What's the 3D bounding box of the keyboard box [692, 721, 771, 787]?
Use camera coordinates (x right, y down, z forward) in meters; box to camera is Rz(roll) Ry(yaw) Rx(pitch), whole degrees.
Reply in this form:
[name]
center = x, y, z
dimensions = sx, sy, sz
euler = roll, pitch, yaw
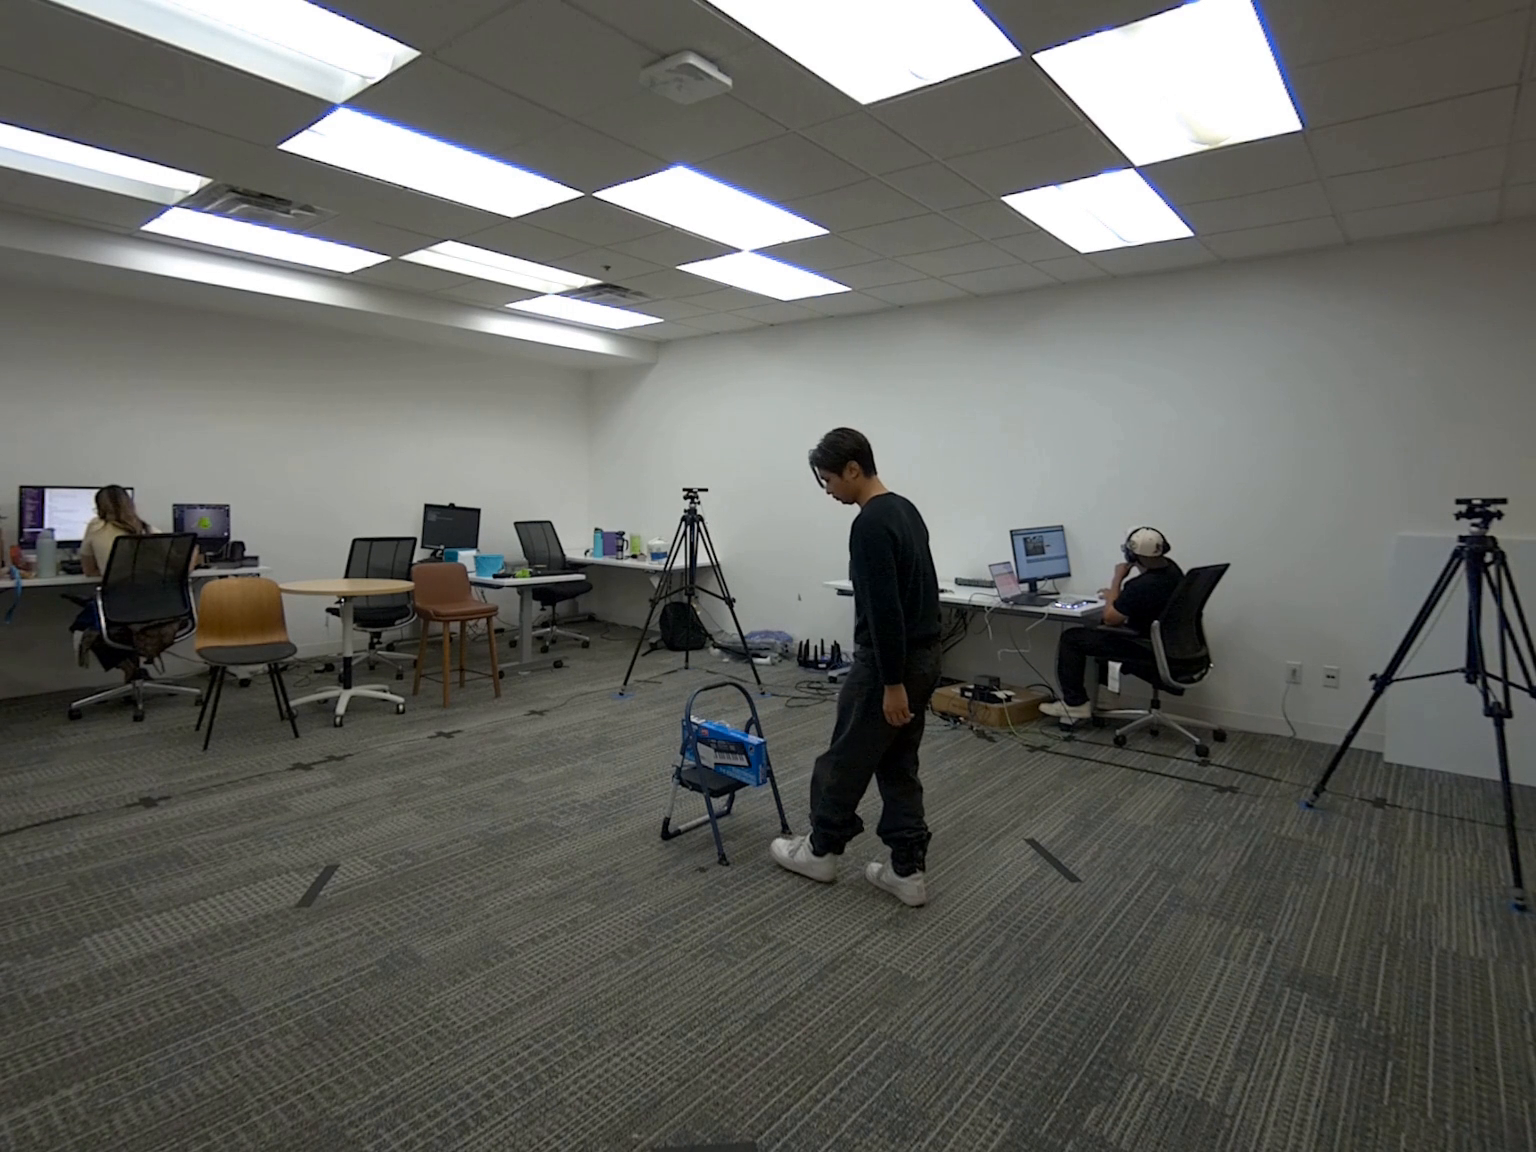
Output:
[keyboard box]
center = -0.195, 0.692, 3.400
dimensions = 0.452, 0.175, 0.057
euler = 8, 10, 44
